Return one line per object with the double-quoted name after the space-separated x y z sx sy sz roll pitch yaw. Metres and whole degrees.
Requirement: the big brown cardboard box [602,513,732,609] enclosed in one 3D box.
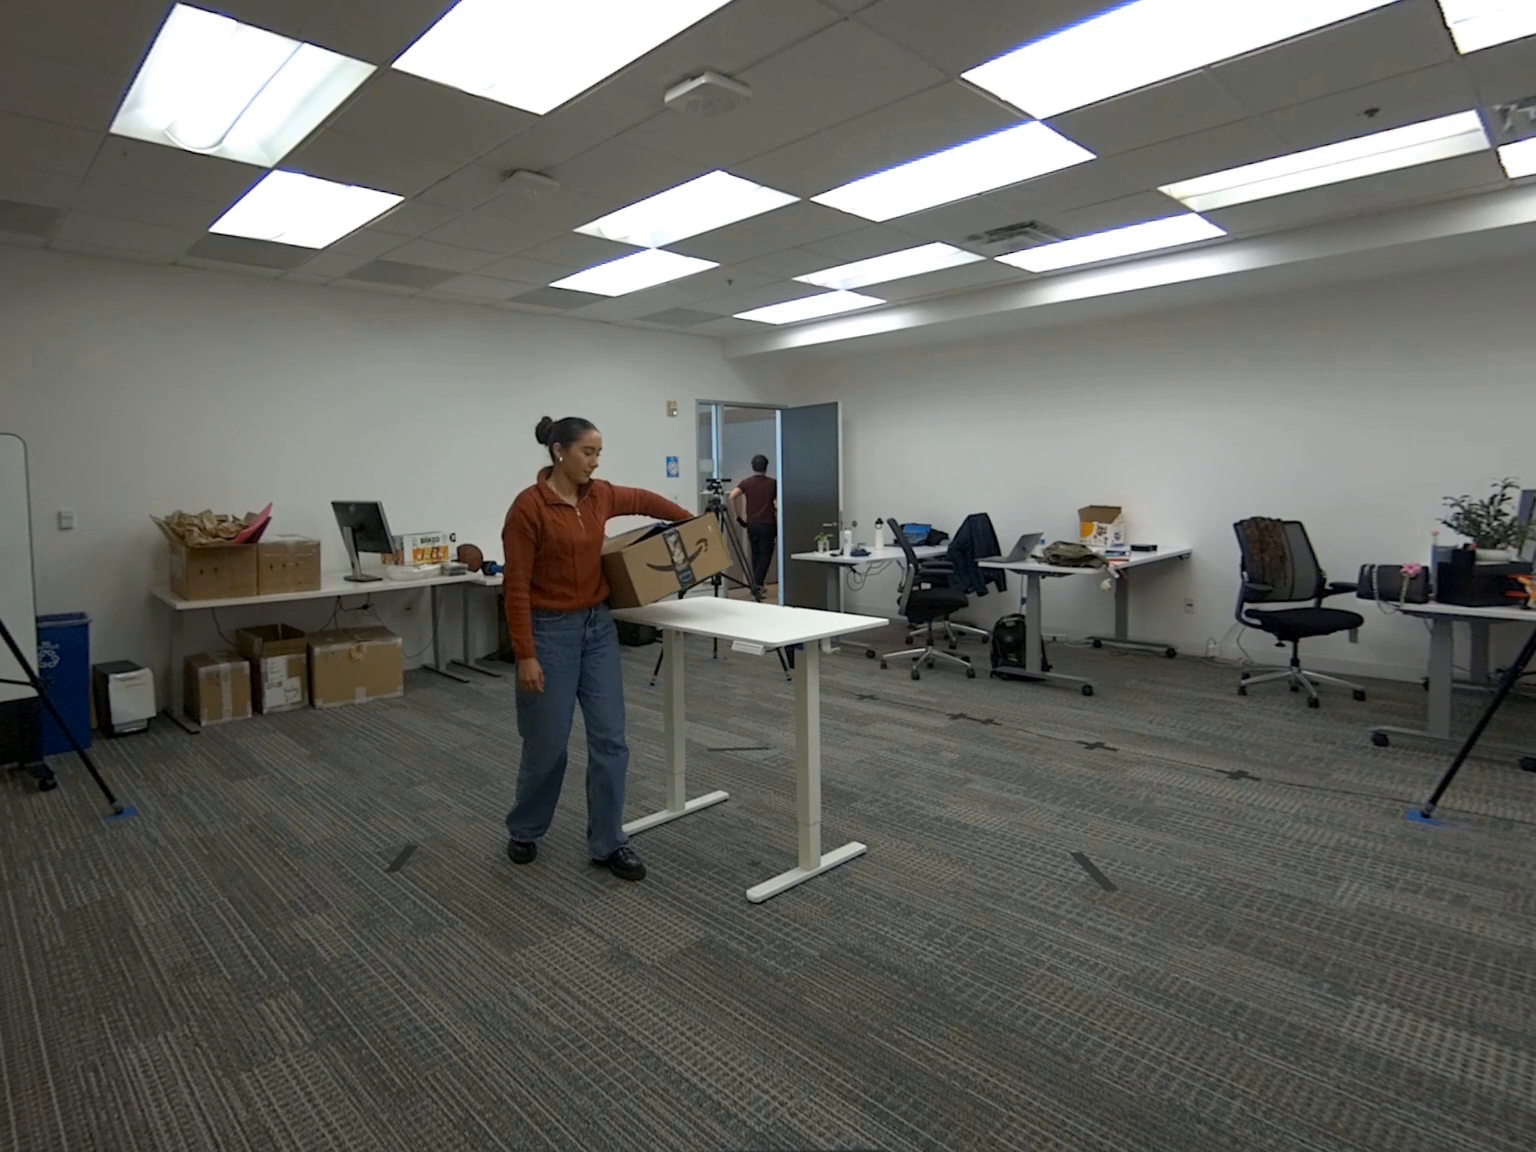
-0.476 -0.048 3.308 0.412 0.232 0.601 -25 8 -33 "big brown cardboard box"
